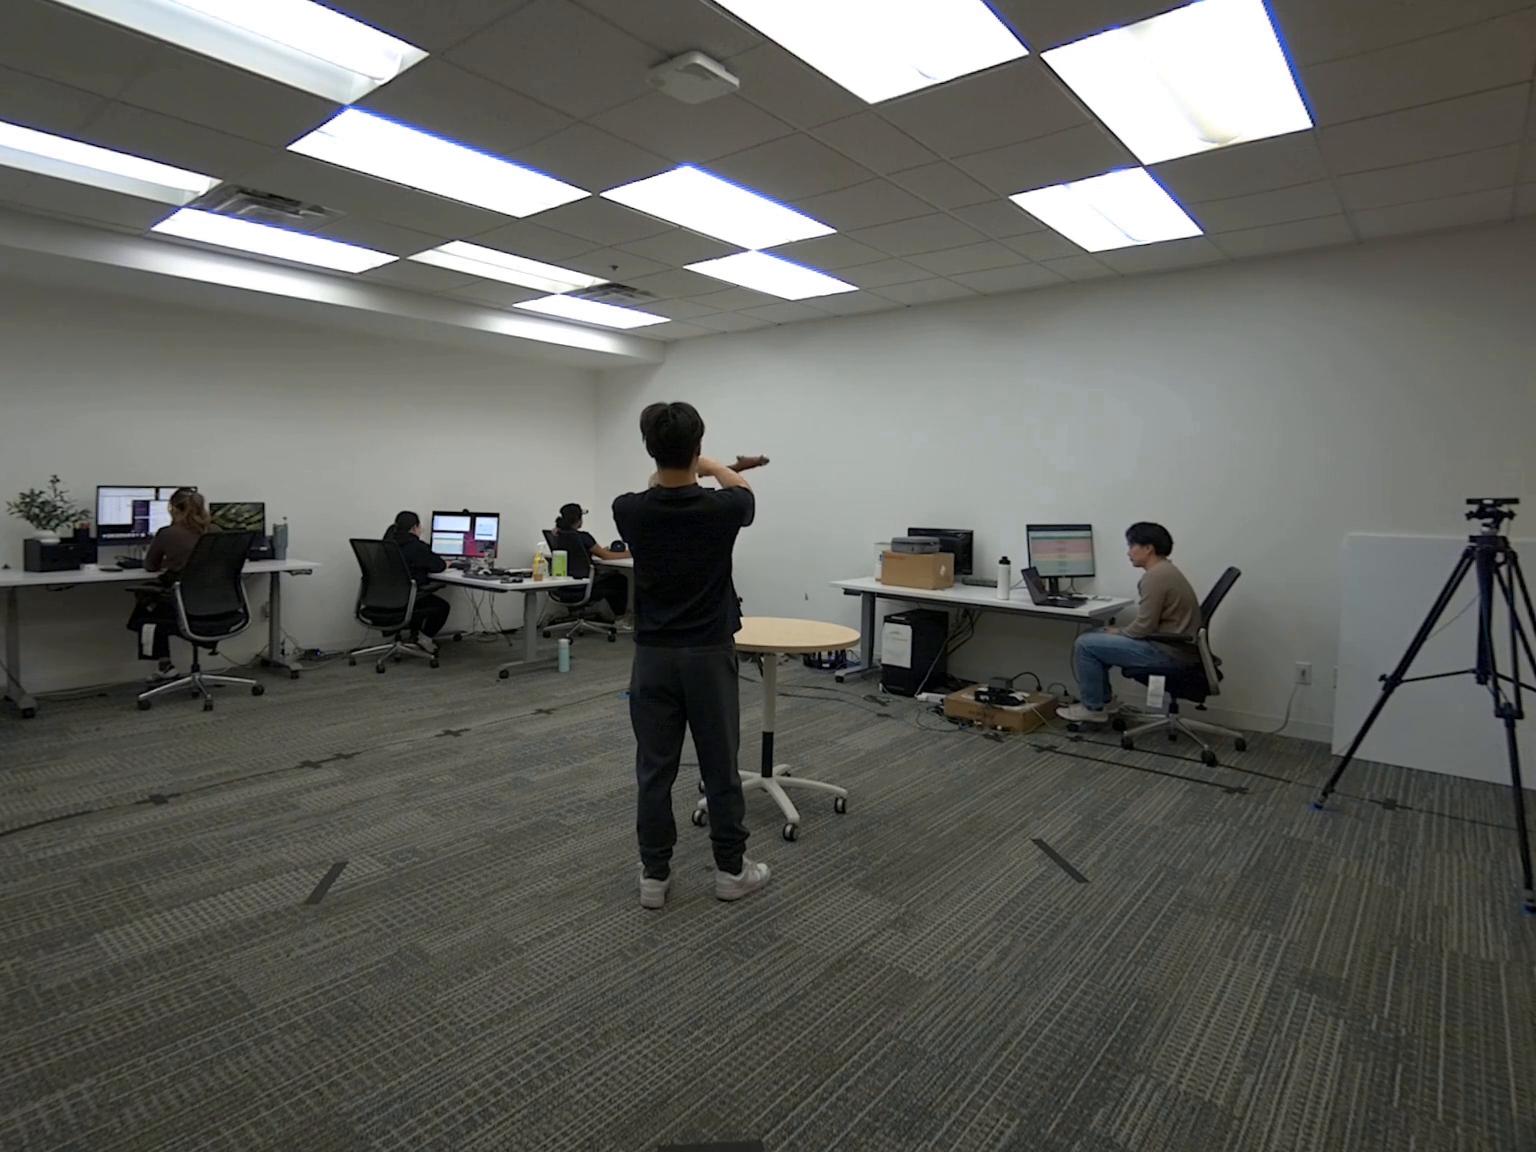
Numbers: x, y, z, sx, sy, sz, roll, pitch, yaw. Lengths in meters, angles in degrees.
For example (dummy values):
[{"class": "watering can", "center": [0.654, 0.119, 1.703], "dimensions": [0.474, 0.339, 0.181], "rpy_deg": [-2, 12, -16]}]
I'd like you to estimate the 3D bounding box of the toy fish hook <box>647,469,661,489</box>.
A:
[{"class": "toy fish hook", "center": [-0.238, -0.361, 3.334], "dimensions": [0.514, 0.221, 0.048], "rpy_deg": [-8, 15, 17]}]
